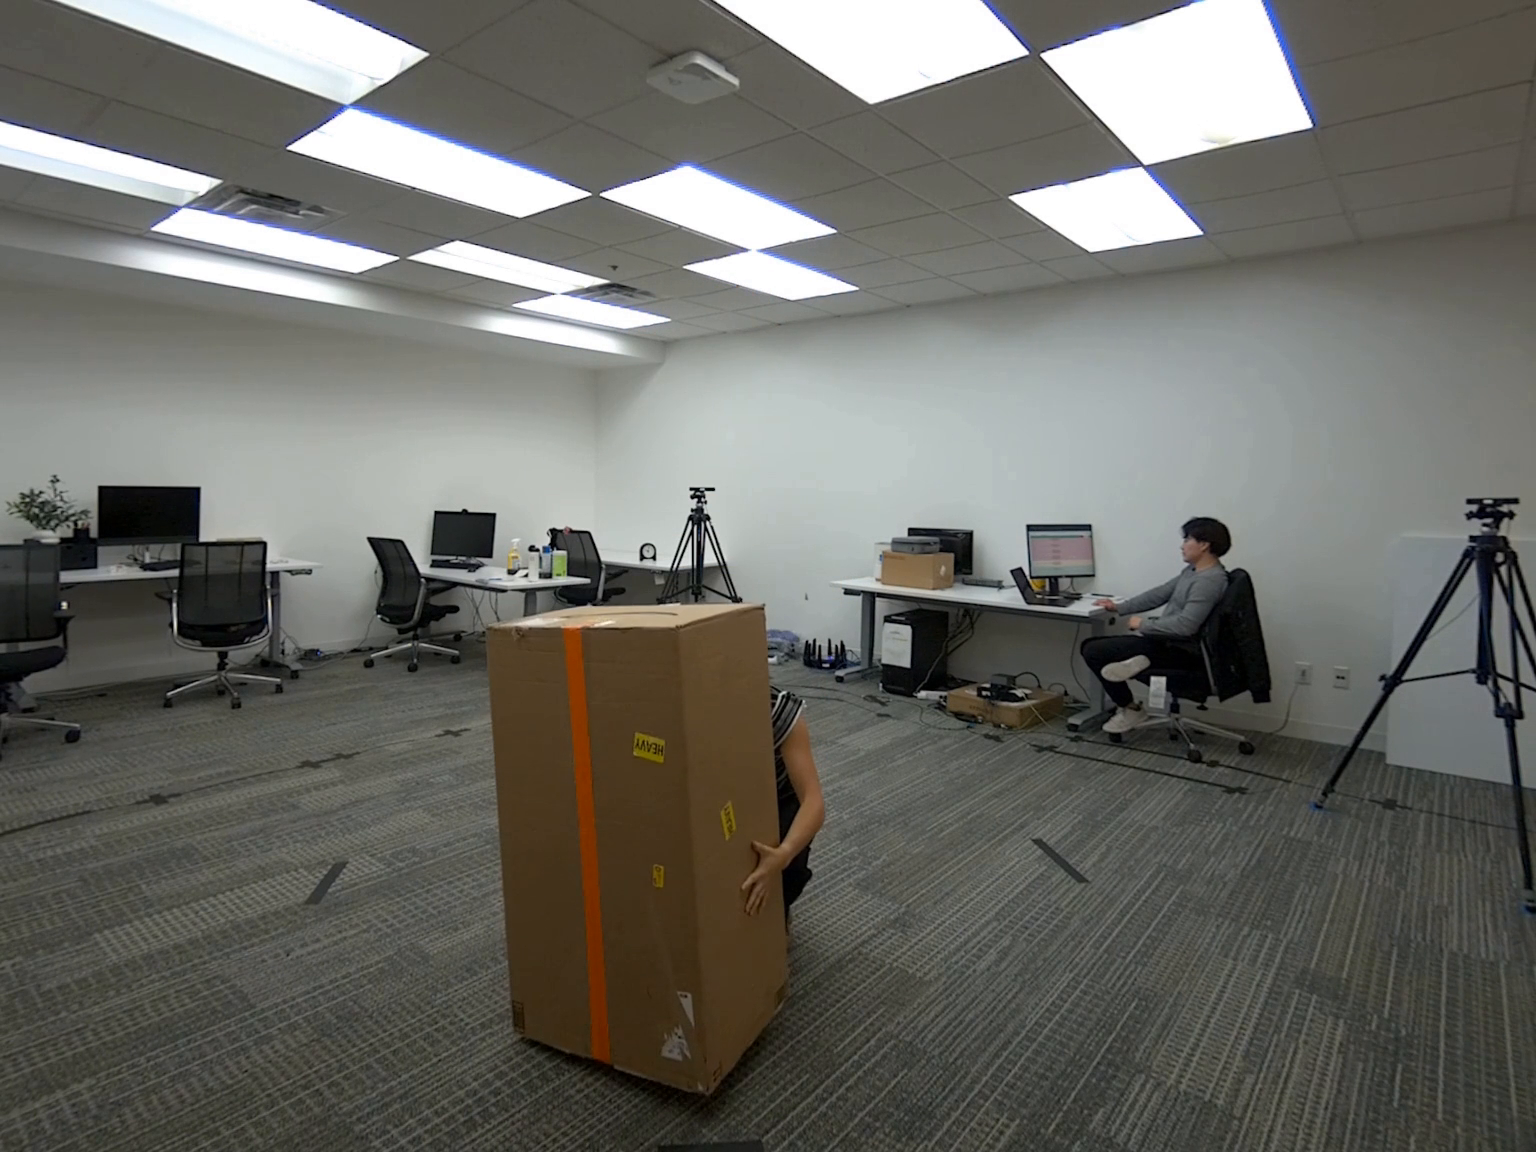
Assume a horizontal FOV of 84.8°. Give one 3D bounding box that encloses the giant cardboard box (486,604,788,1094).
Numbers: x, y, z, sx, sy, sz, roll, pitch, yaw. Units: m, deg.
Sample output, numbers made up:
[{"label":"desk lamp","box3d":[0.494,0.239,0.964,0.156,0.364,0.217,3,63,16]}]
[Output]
[{"label":"giant cardboard box","box3d":[-0.334,0.602,2.151,0.592,1.025,0.416,-3,1,28]}]
